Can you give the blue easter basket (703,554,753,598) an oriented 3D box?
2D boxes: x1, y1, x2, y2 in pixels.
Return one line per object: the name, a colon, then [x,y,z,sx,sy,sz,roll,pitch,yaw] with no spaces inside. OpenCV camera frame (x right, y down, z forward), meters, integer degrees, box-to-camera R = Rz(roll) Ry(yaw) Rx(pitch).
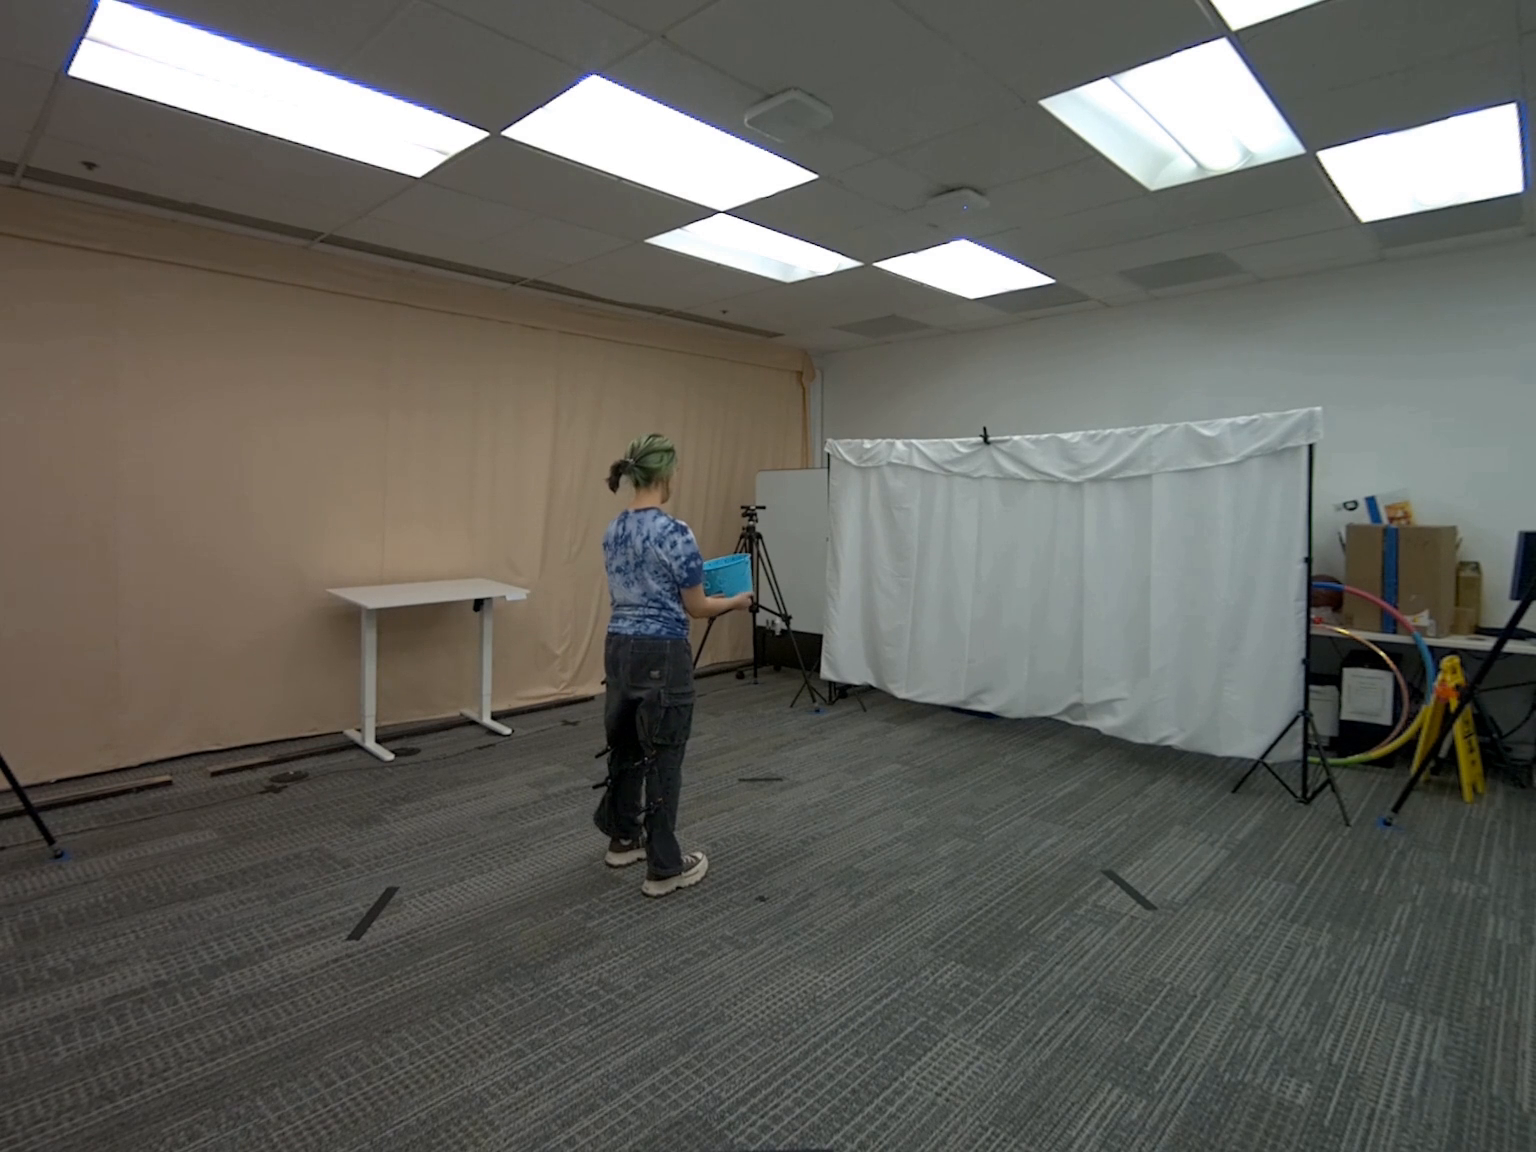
blue easter basket: [-0.178,0.016,3.341,0.243,0.155,0.245,-10,6,-1]
